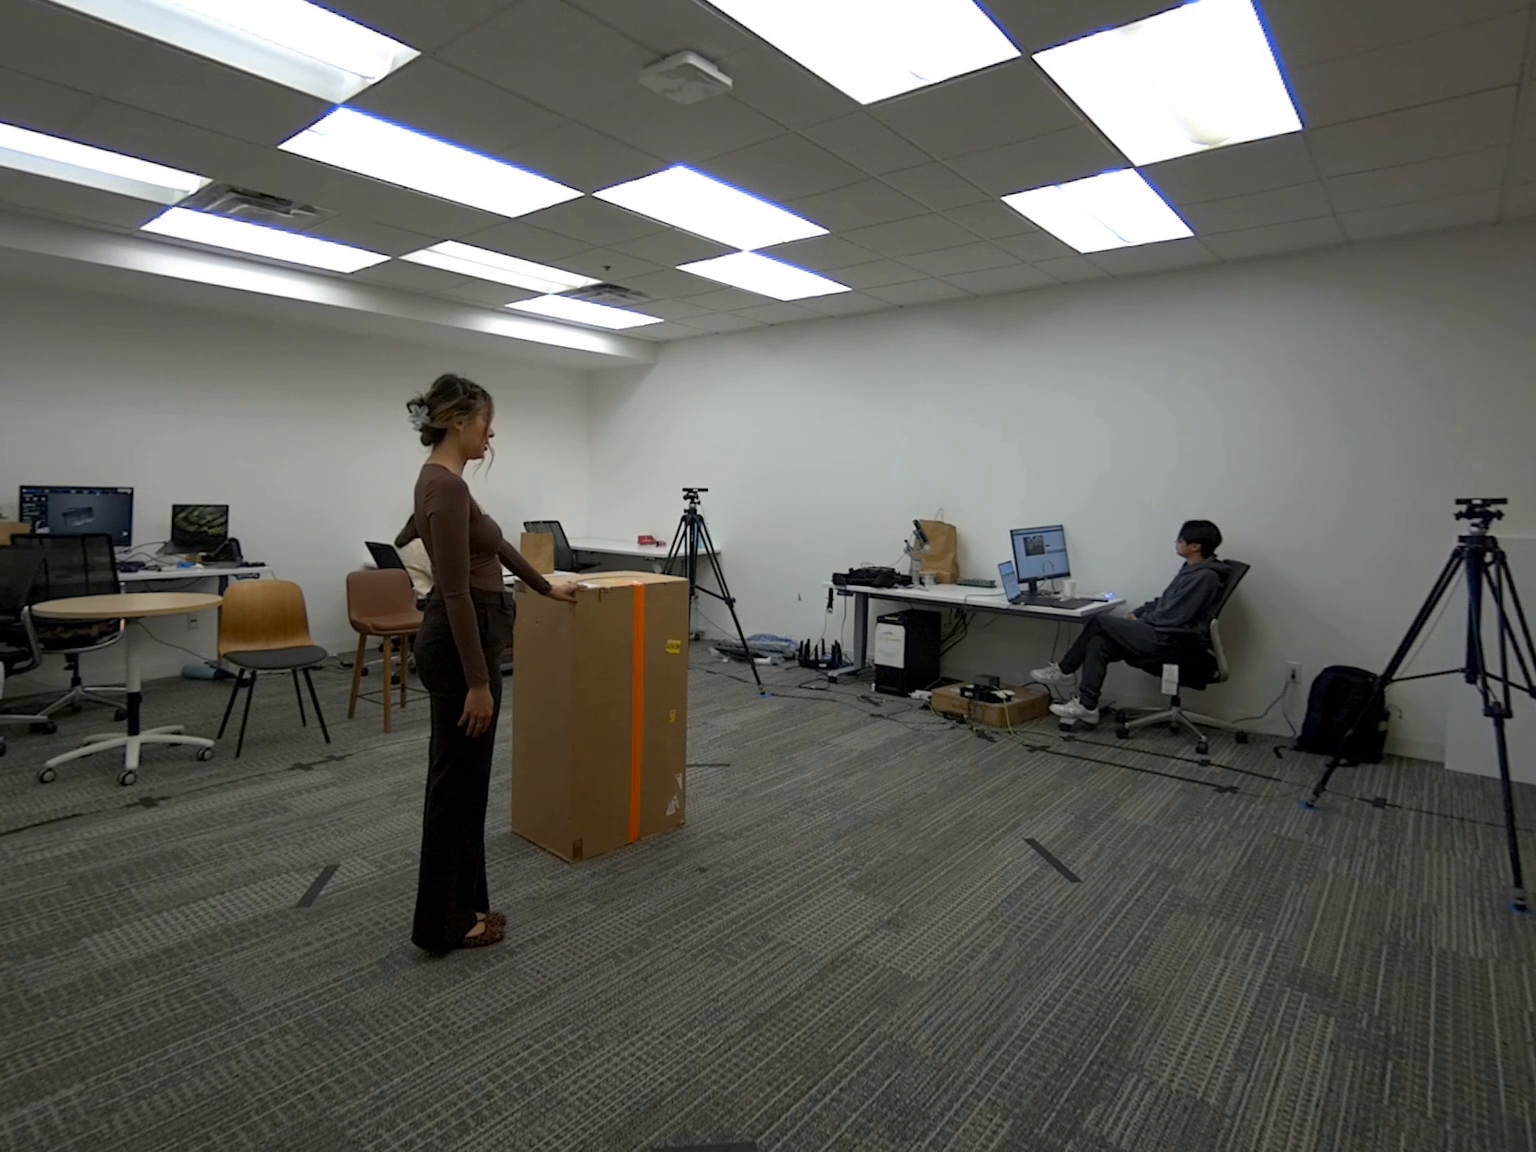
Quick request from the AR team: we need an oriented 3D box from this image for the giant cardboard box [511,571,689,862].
[{"bbox_3d":[-0.688,0.519,3.455,0.462,1.024,0.566,5,5,45],"label":"giant cardboard box"}]
